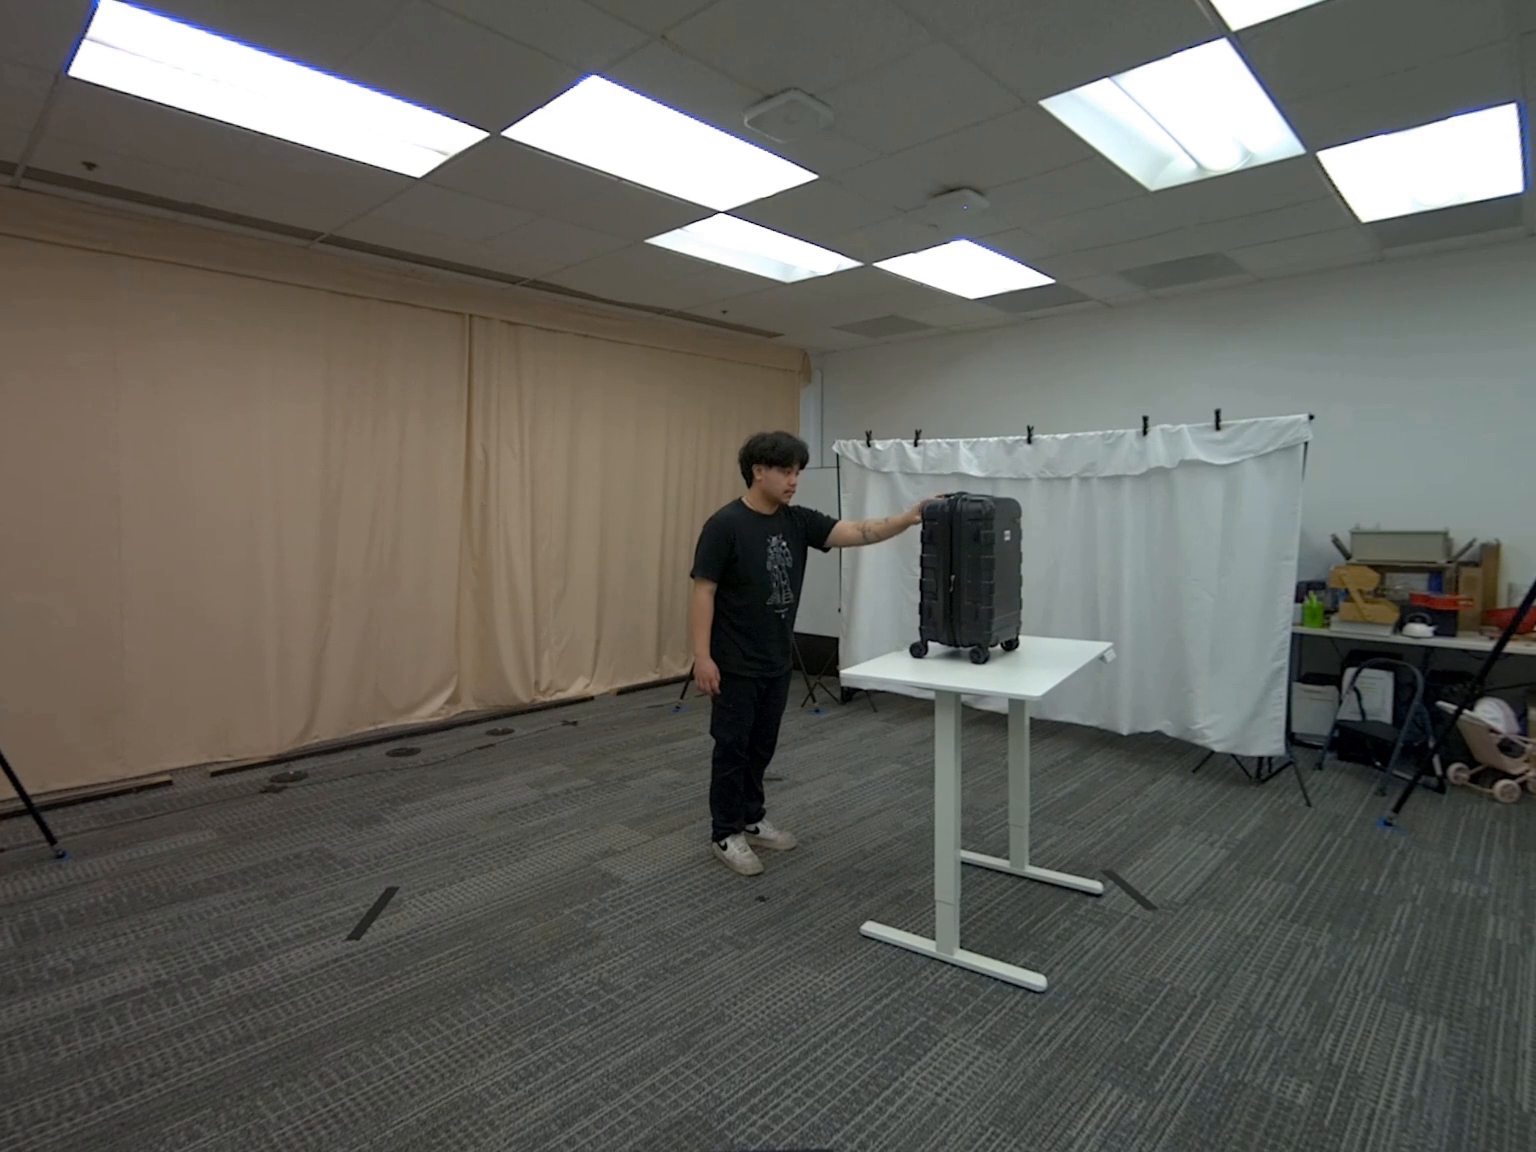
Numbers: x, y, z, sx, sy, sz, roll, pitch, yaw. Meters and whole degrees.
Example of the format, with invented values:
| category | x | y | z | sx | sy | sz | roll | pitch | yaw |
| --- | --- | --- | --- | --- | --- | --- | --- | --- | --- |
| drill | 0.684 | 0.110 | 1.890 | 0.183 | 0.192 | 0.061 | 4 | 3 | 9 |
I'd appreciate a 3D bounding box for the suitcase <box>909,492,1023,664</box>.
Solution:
| category | x | y | z | sx | sy | sz | roll | pitch | yaw |
| --- | --- | --- | --- | --- | --- | --- | --- | --- | --- |
| suitcase | 0.699 | -0.006 | 2.854 | 0.256 | 0.548 | 0.364 | 4 | 5 | 36 |
